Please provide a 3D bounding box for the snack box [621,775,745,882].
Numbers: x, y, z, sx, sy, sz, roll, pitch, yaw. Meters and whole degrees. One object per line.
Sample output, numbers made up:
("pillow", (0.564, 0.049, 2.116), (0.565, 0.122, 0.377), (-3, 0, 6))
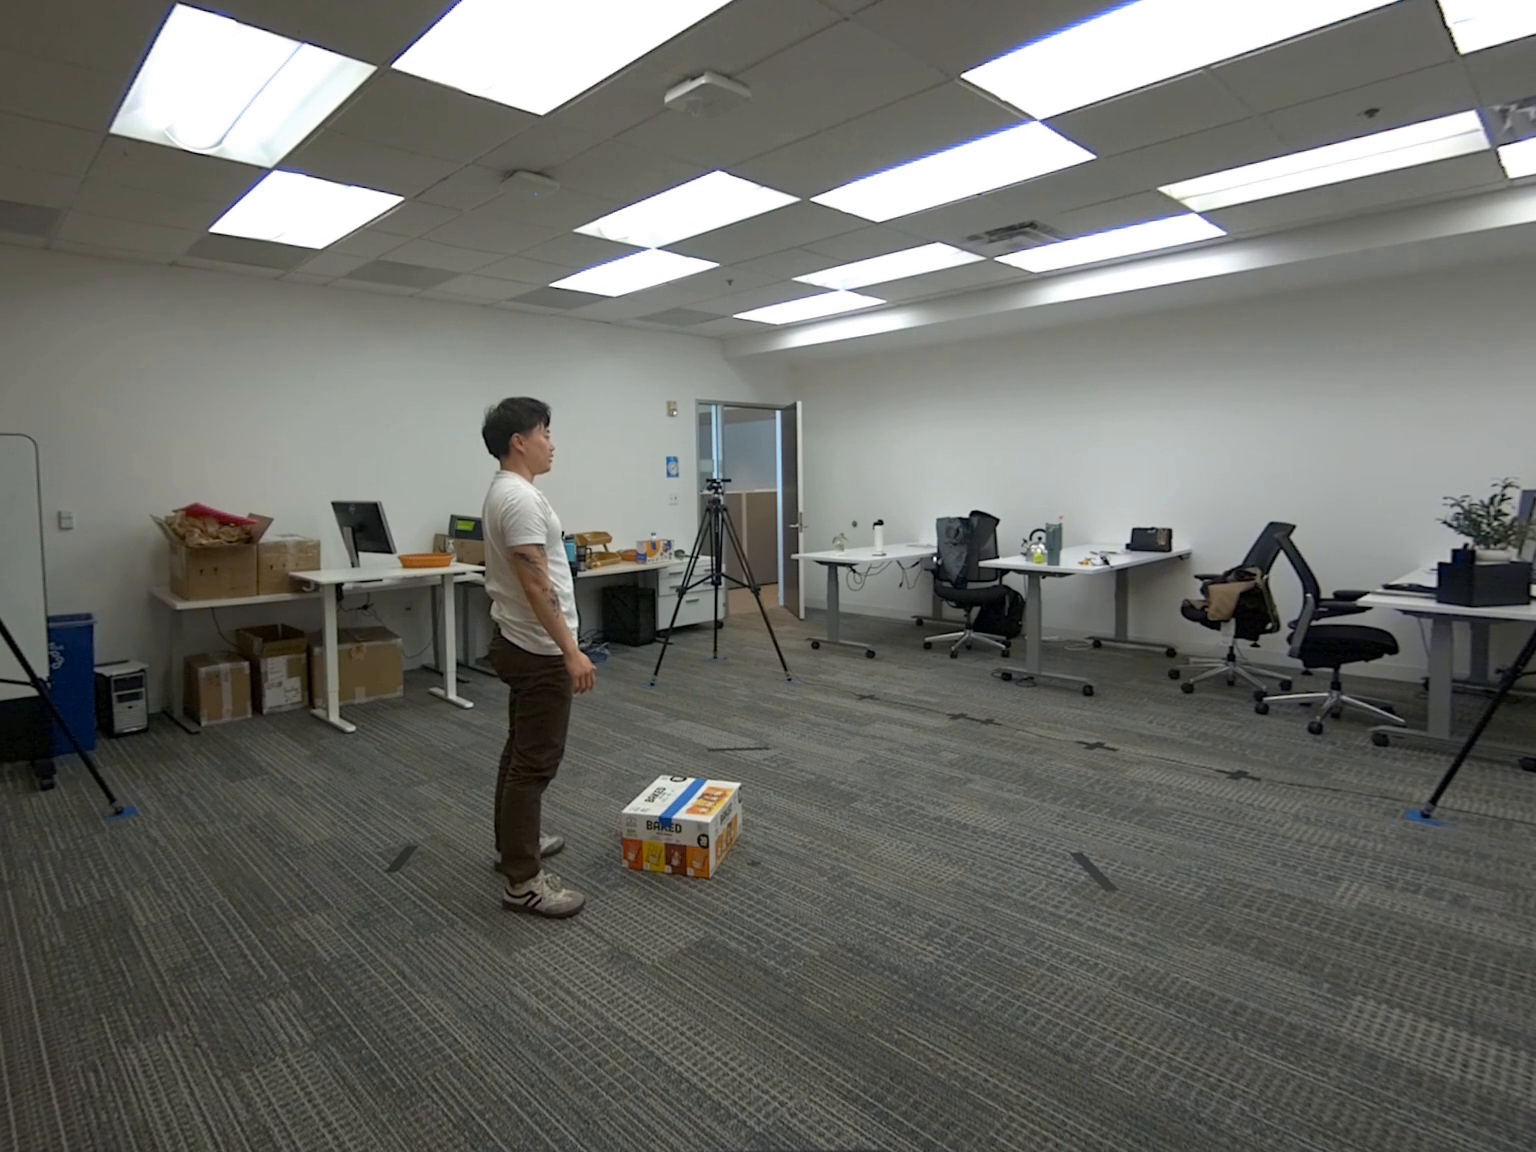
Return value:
("snack box", (-0.311, 0.933, 3.224), (0.346, 0.205, 0.401), (1, 6, 16))
